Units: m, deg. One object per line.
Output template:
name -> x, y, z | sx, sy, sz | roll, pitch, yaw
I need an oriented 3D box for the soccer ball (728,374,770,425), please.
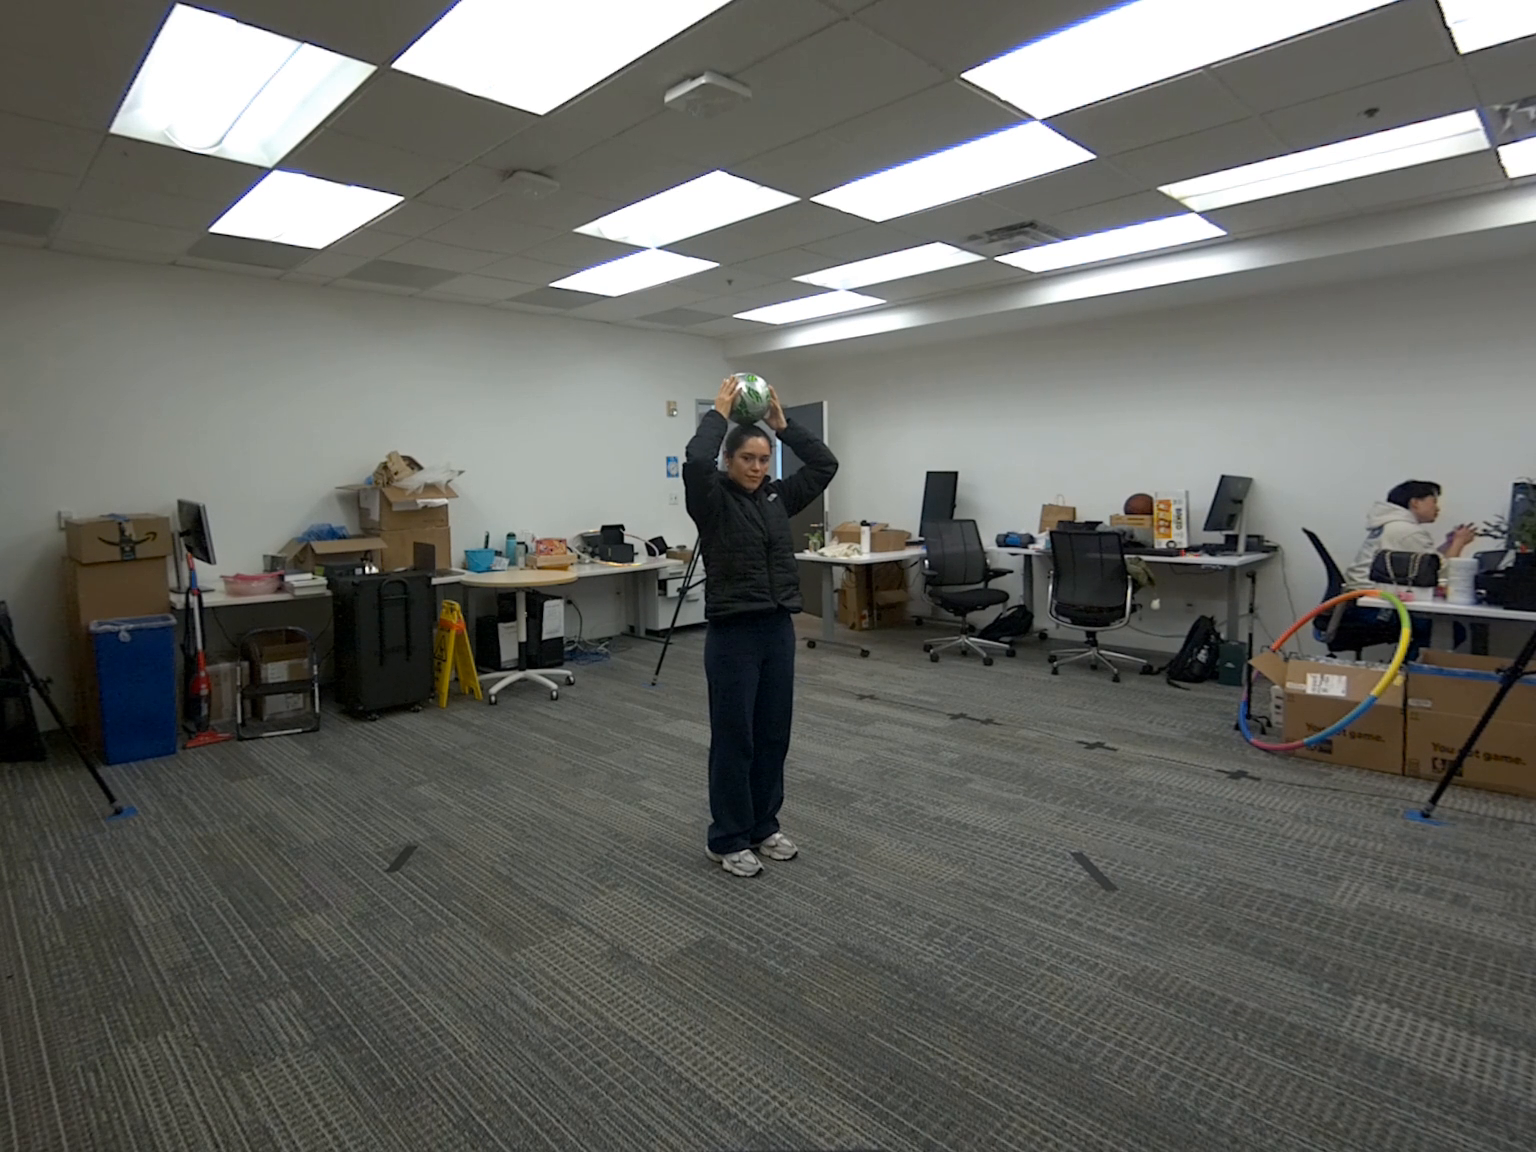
soccer ball -> -0.080, -0.643, 3.099 | 0.187, 0.187, 0.188 | -1, 5, -2
